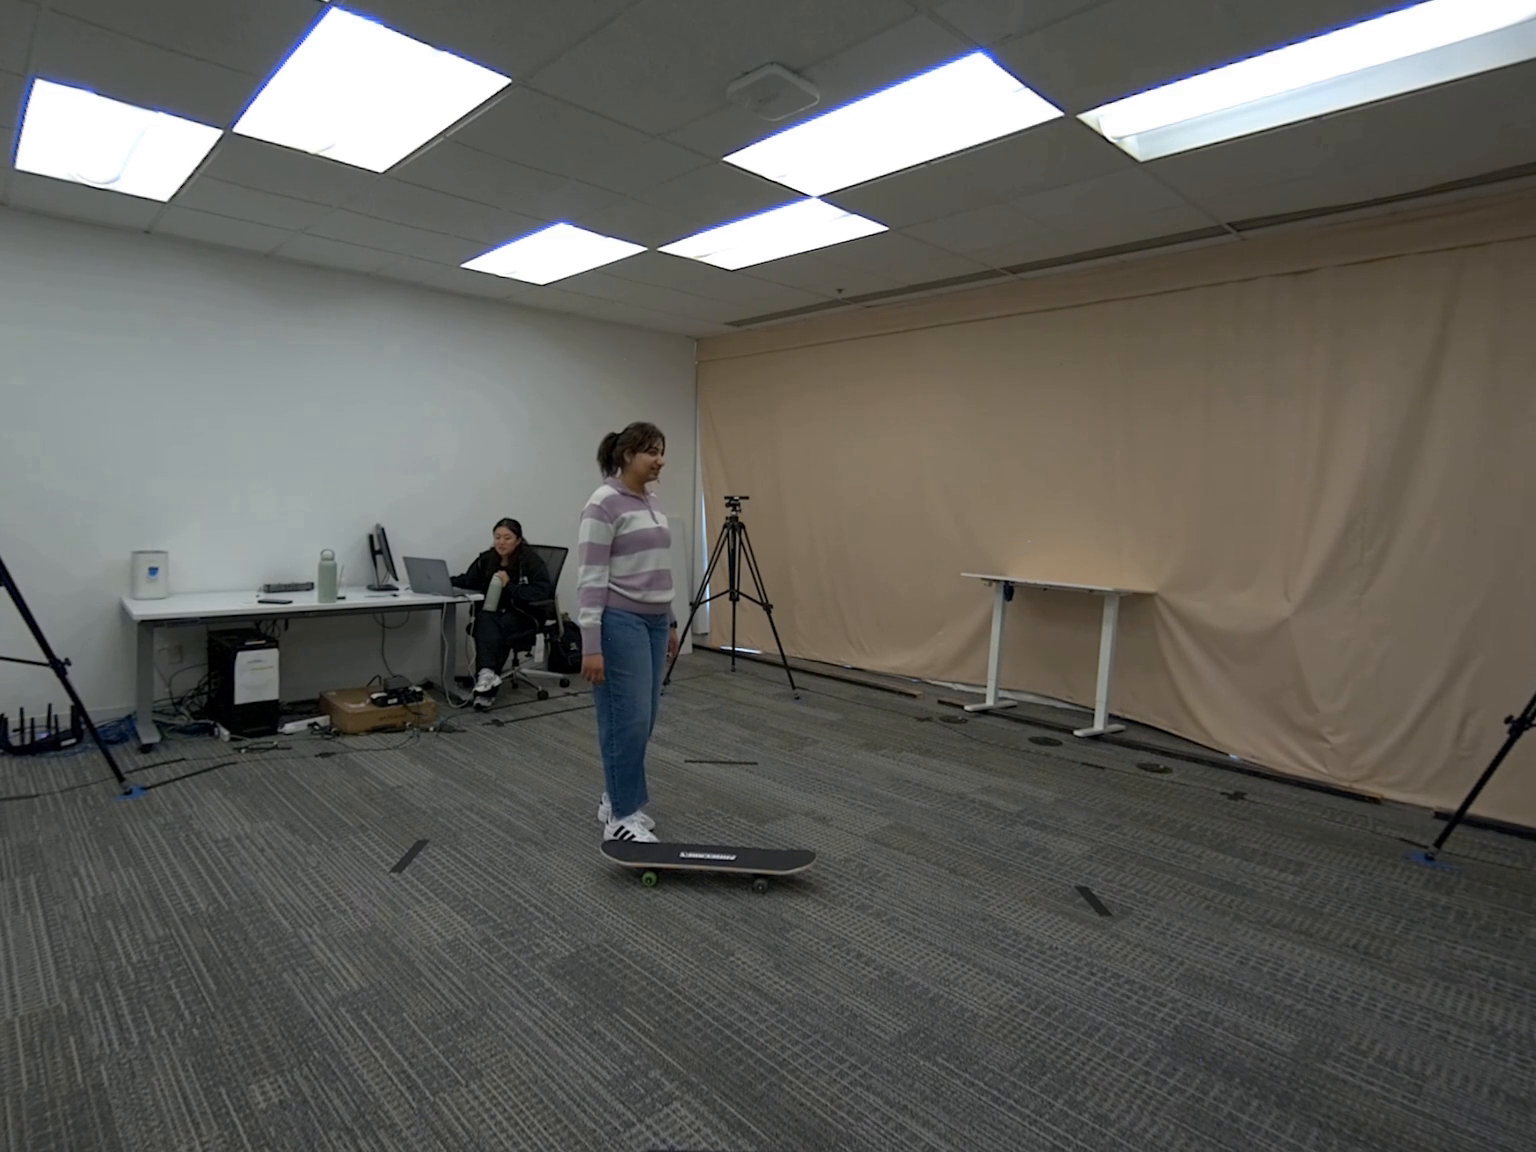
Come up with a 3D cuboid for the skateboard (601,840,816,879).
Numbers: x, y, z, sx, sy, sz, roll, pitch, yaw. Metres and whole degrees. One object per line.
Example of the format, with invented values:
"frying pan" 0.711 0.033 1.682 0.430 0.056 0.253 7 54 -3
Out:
"skateboard" -0.227 1.047 3.057 0.788 0.110 0.193 1 4 5
